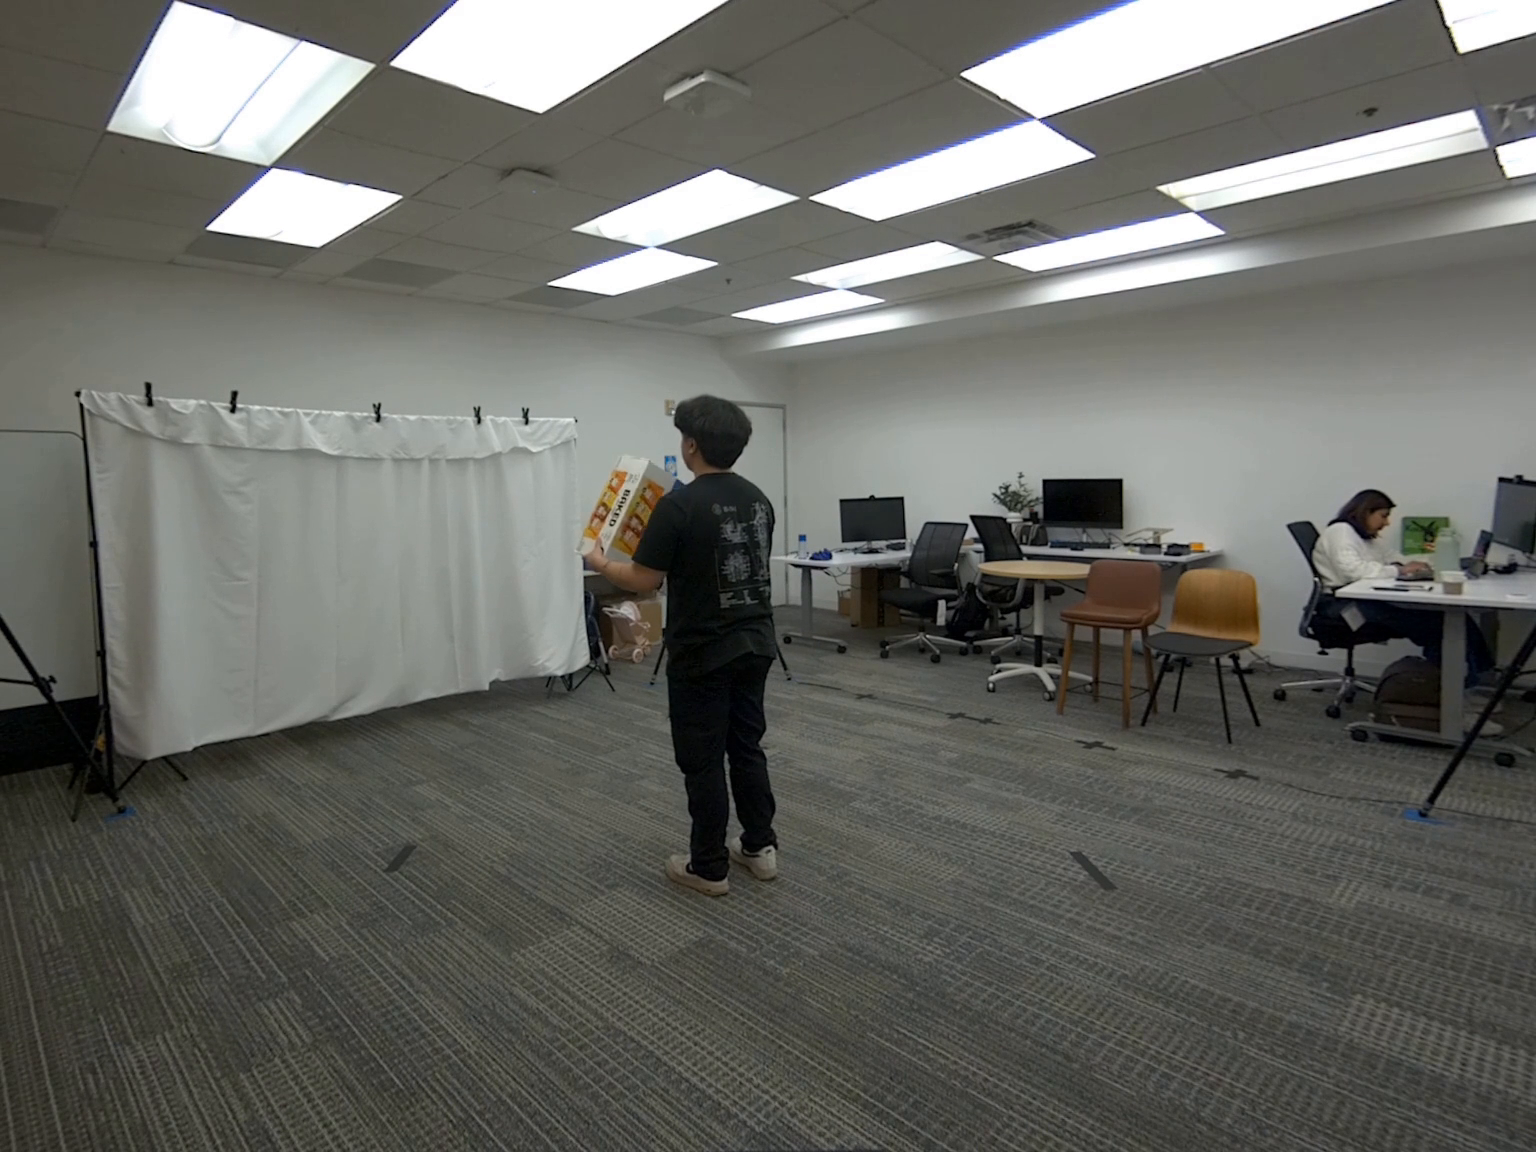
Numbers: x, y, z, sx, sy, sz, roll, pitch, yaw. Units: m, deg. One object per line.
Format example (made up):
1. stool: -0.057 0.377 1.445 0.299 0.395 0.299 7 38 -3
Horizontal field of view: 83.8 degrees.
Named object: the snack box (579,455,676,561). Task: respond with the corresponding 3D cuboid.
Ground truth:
1. snack box: -0.474 -0.185 3.209 0.213 0.406 0.327 15 -12 48
